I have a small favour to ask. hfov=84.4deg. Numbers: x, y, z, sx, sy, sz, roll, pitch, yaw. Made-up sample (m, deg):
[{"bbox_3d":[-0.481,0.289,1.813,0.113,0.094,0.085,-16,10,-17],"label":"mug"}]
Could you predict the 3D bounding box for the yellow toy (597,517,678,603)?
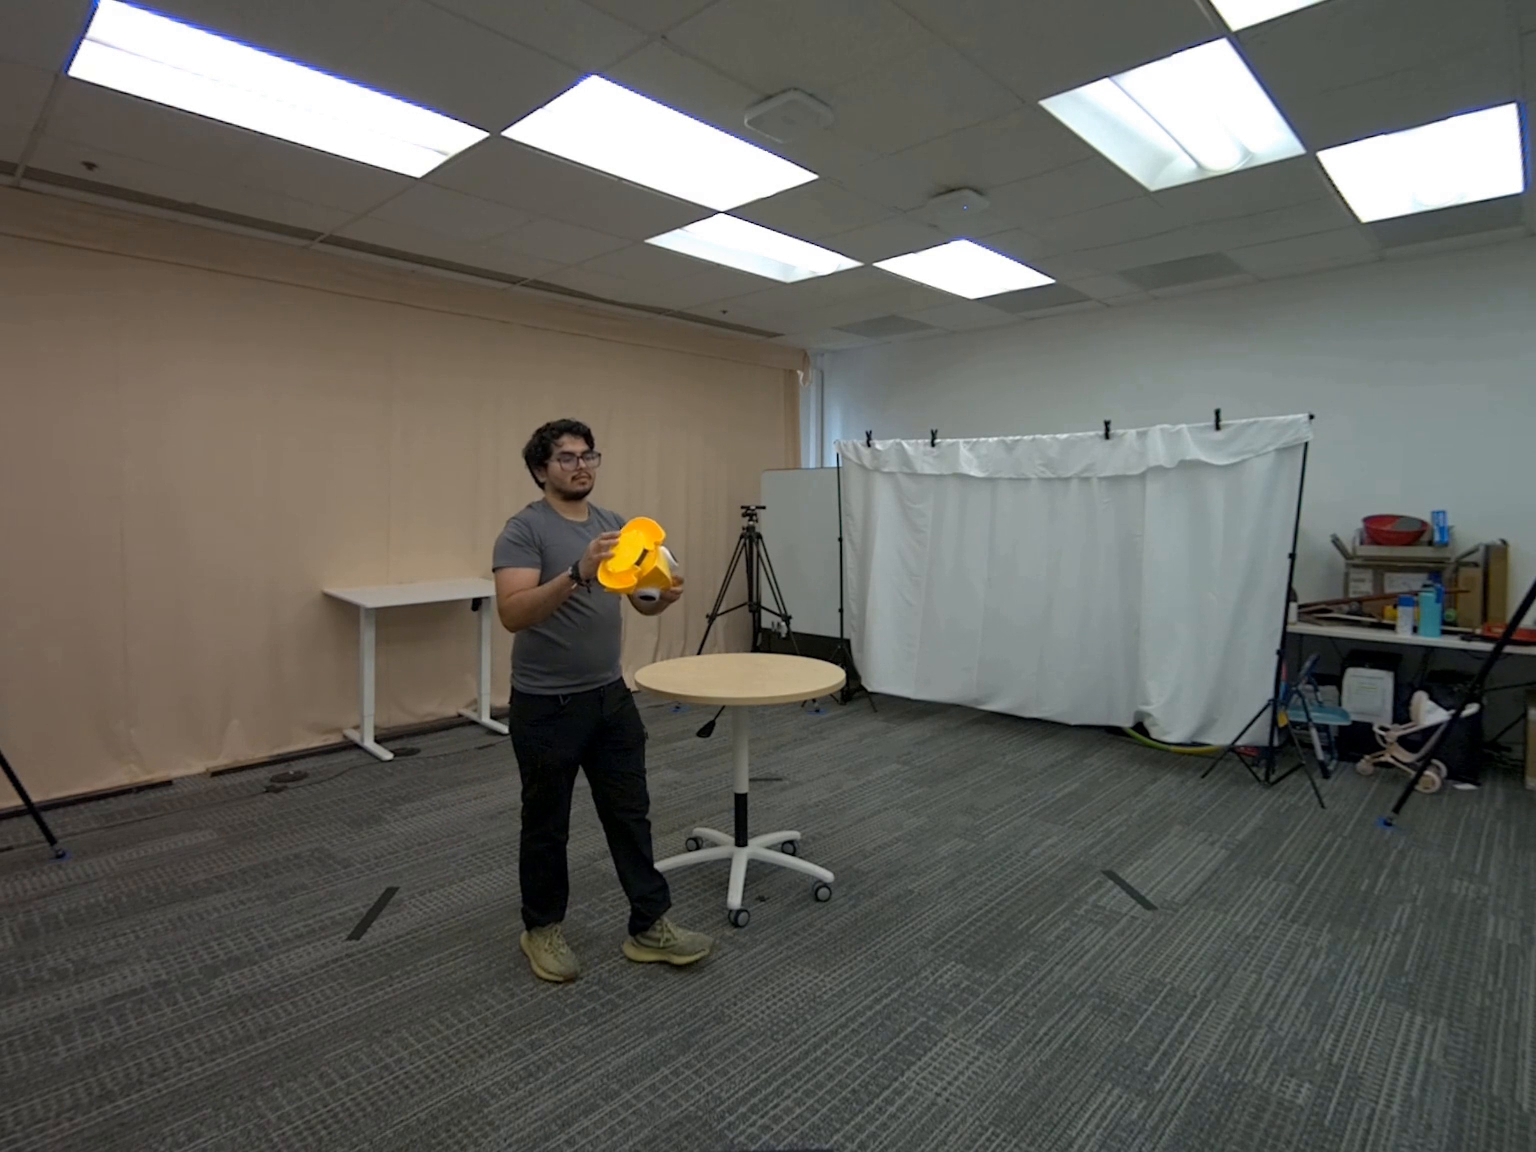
[{"bbox_3d":[-0.300,-0.012,2.203,0.200,0.205,0.222,17,-18,42],"label":"yellow toy"}]
